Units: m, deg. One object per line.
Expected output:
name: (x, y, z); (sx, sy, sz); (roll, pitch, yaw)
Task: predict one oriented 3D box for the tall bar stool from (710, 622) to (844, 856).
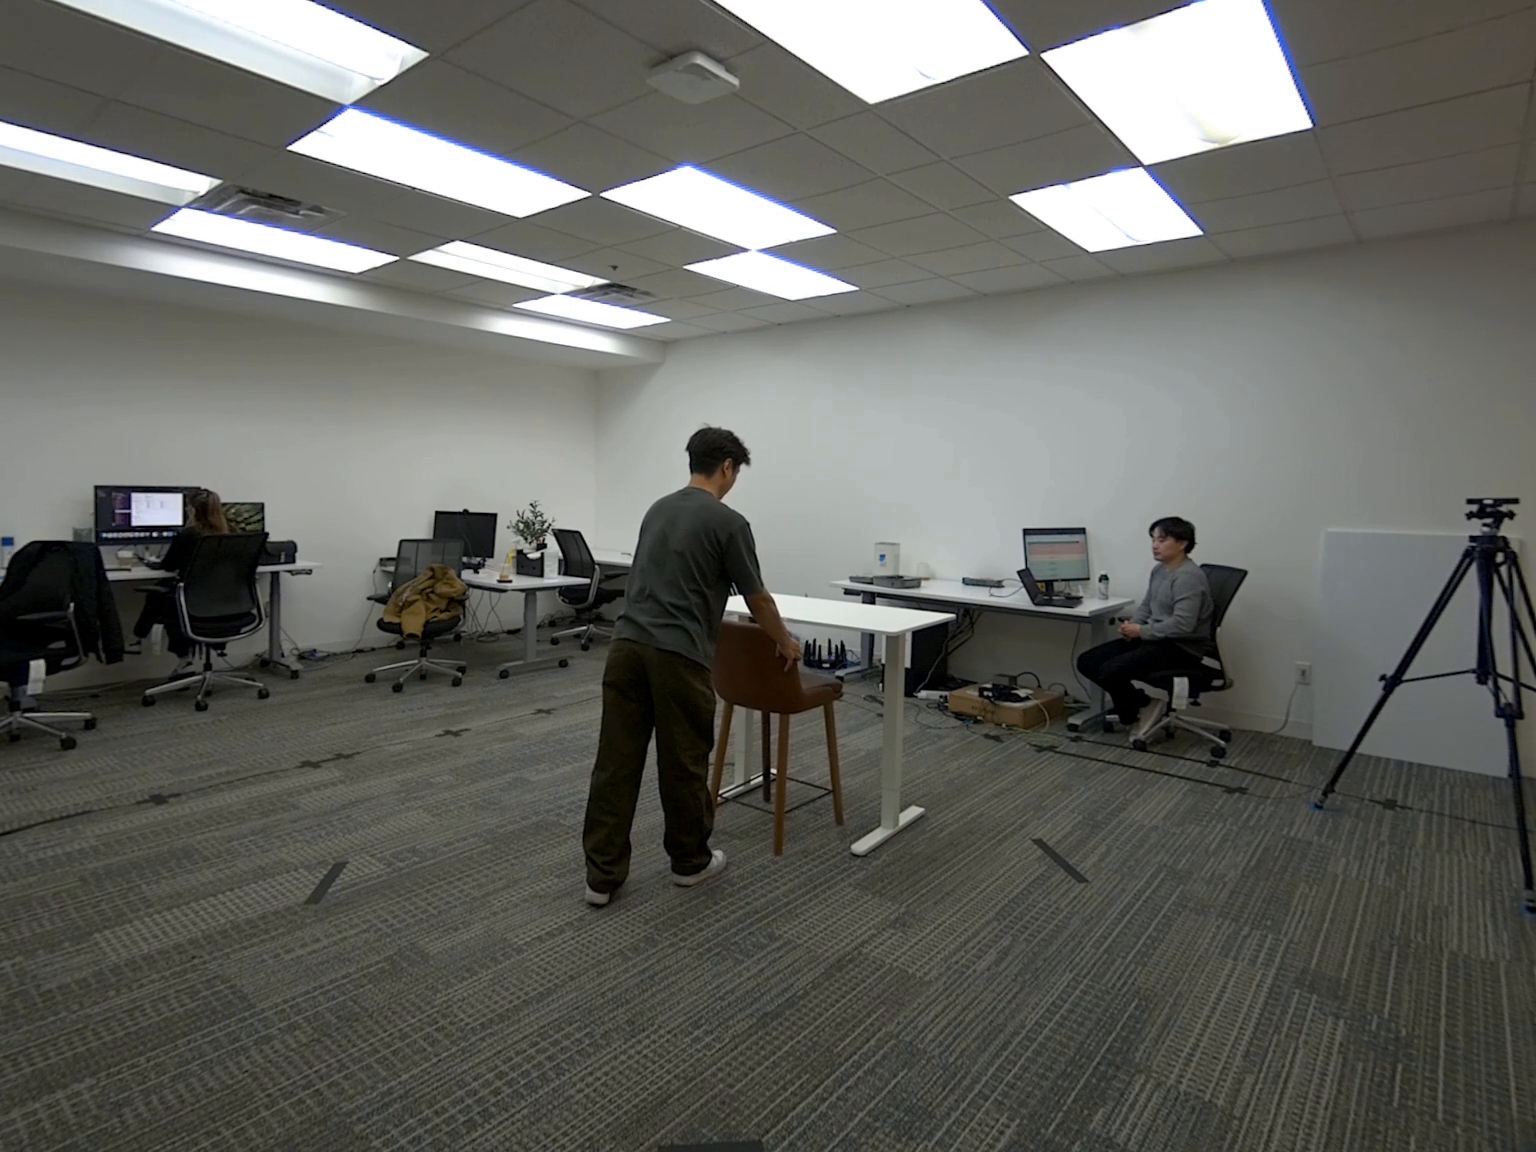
tall bar stool: (0.015, 0.592, 3.481); (0.472, 0.885, 0.455); (4, 8, 38)
